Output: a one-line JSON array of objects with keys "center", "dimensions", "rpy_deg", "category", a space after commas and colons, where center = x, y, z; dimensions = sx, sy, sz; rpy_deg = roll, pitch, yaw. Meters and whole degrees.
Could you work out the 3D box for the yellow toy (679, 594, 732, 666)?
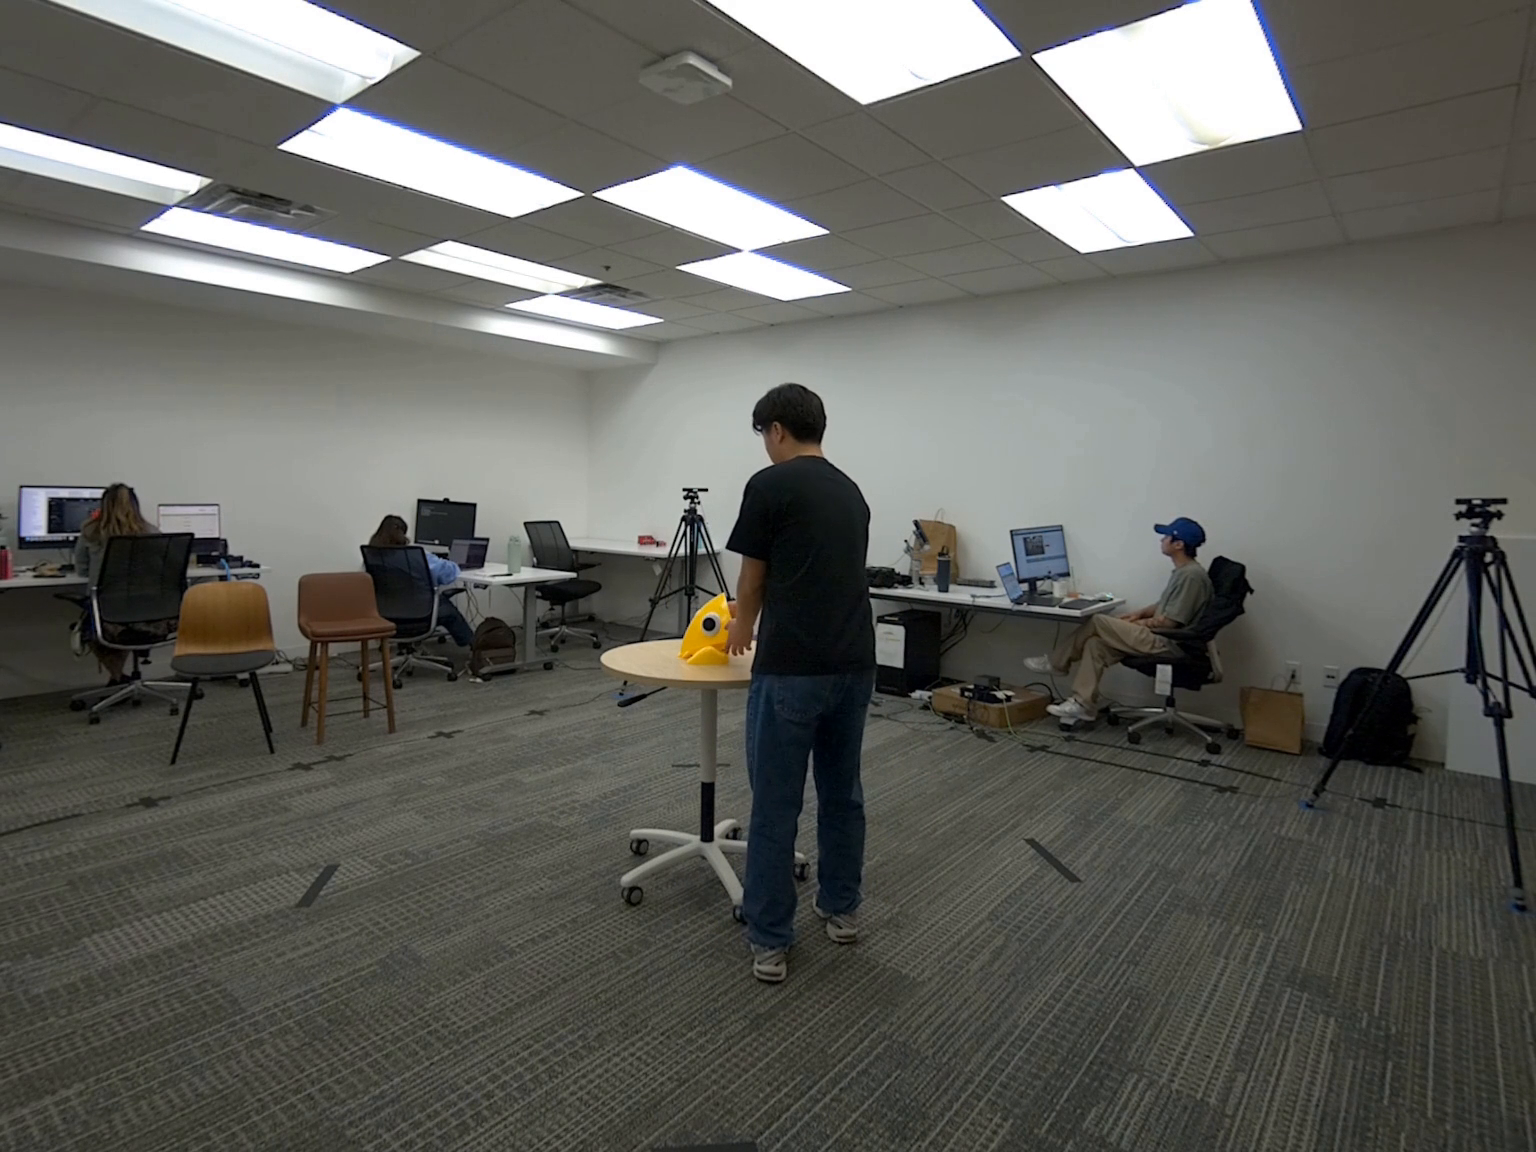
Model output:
[{"center": [-0.225, 0.172, 2.962], "dimensions": [0.189, 0.230, 0.209], "rpy_deg": [1, 3, -20], "category": "yellow toy"}]
